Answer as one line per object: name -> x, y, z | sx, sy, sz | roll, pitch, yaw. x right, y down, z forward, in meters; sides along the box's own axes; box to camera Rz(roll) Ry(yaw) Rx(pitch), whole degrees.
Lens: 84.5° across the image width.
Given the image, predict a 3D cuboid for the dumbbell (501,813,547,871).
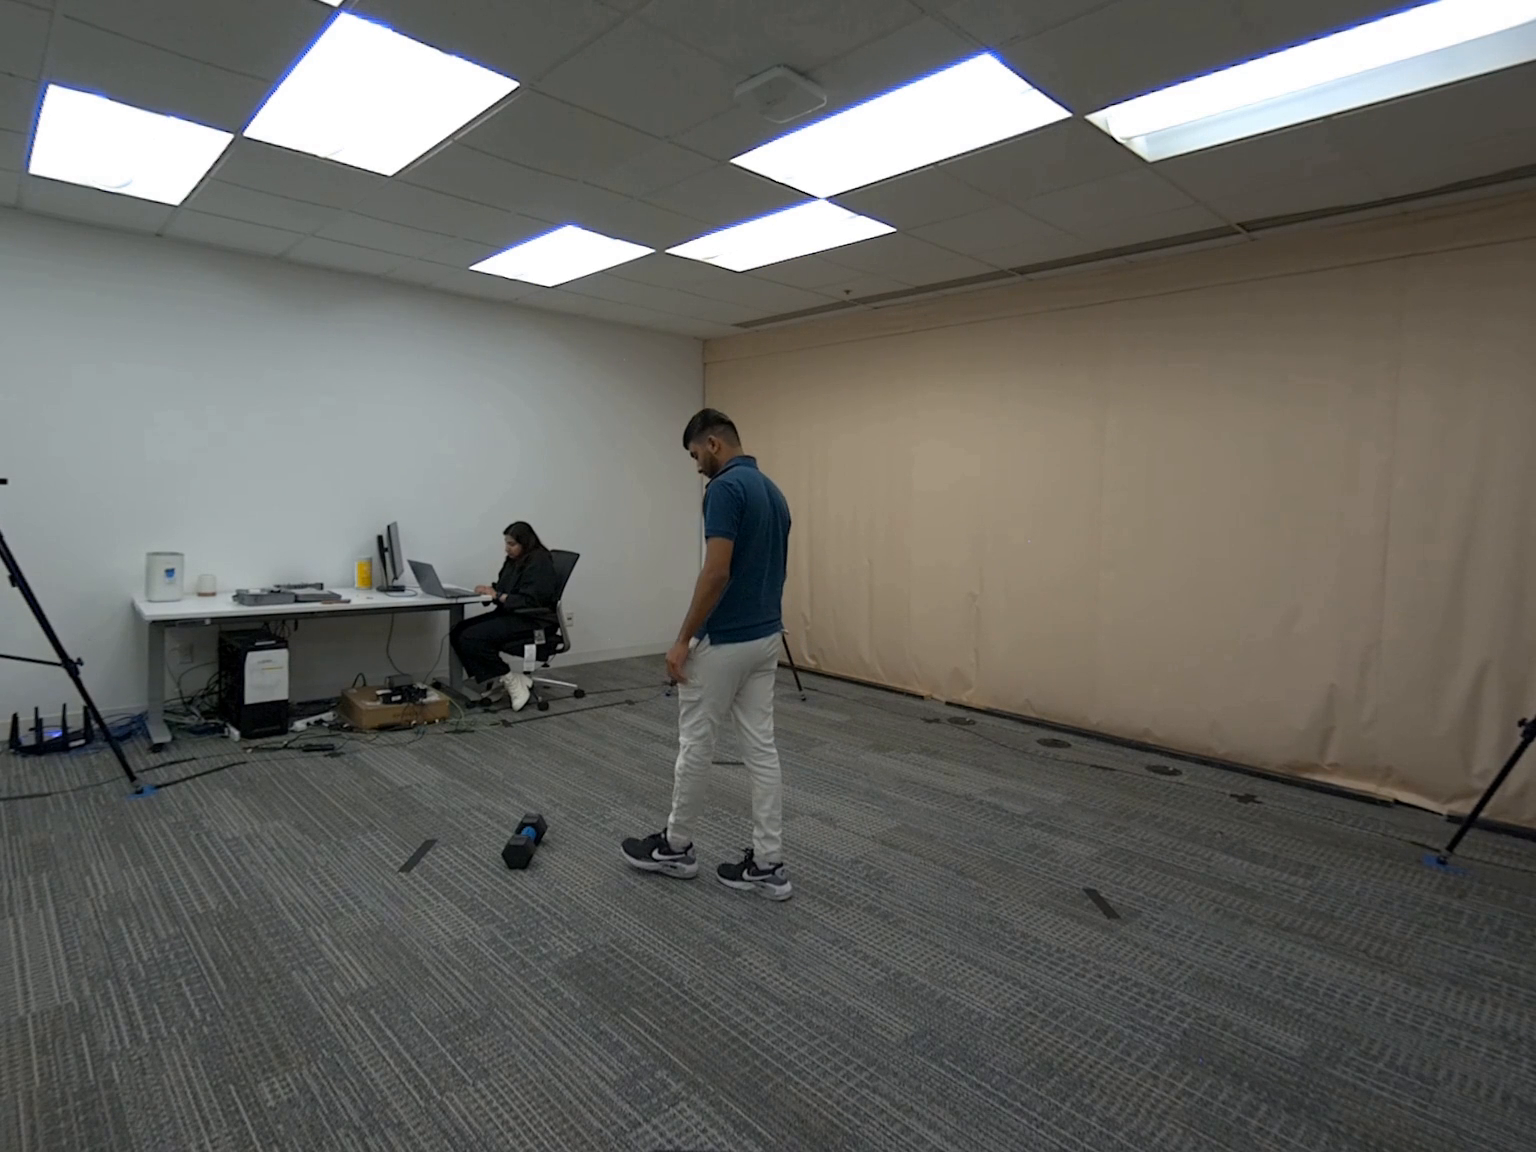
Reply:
dumbbell -> -0.946, 1.023, 3.254 | 0.108, 0.123, 0.294 | 33, 4, -4
